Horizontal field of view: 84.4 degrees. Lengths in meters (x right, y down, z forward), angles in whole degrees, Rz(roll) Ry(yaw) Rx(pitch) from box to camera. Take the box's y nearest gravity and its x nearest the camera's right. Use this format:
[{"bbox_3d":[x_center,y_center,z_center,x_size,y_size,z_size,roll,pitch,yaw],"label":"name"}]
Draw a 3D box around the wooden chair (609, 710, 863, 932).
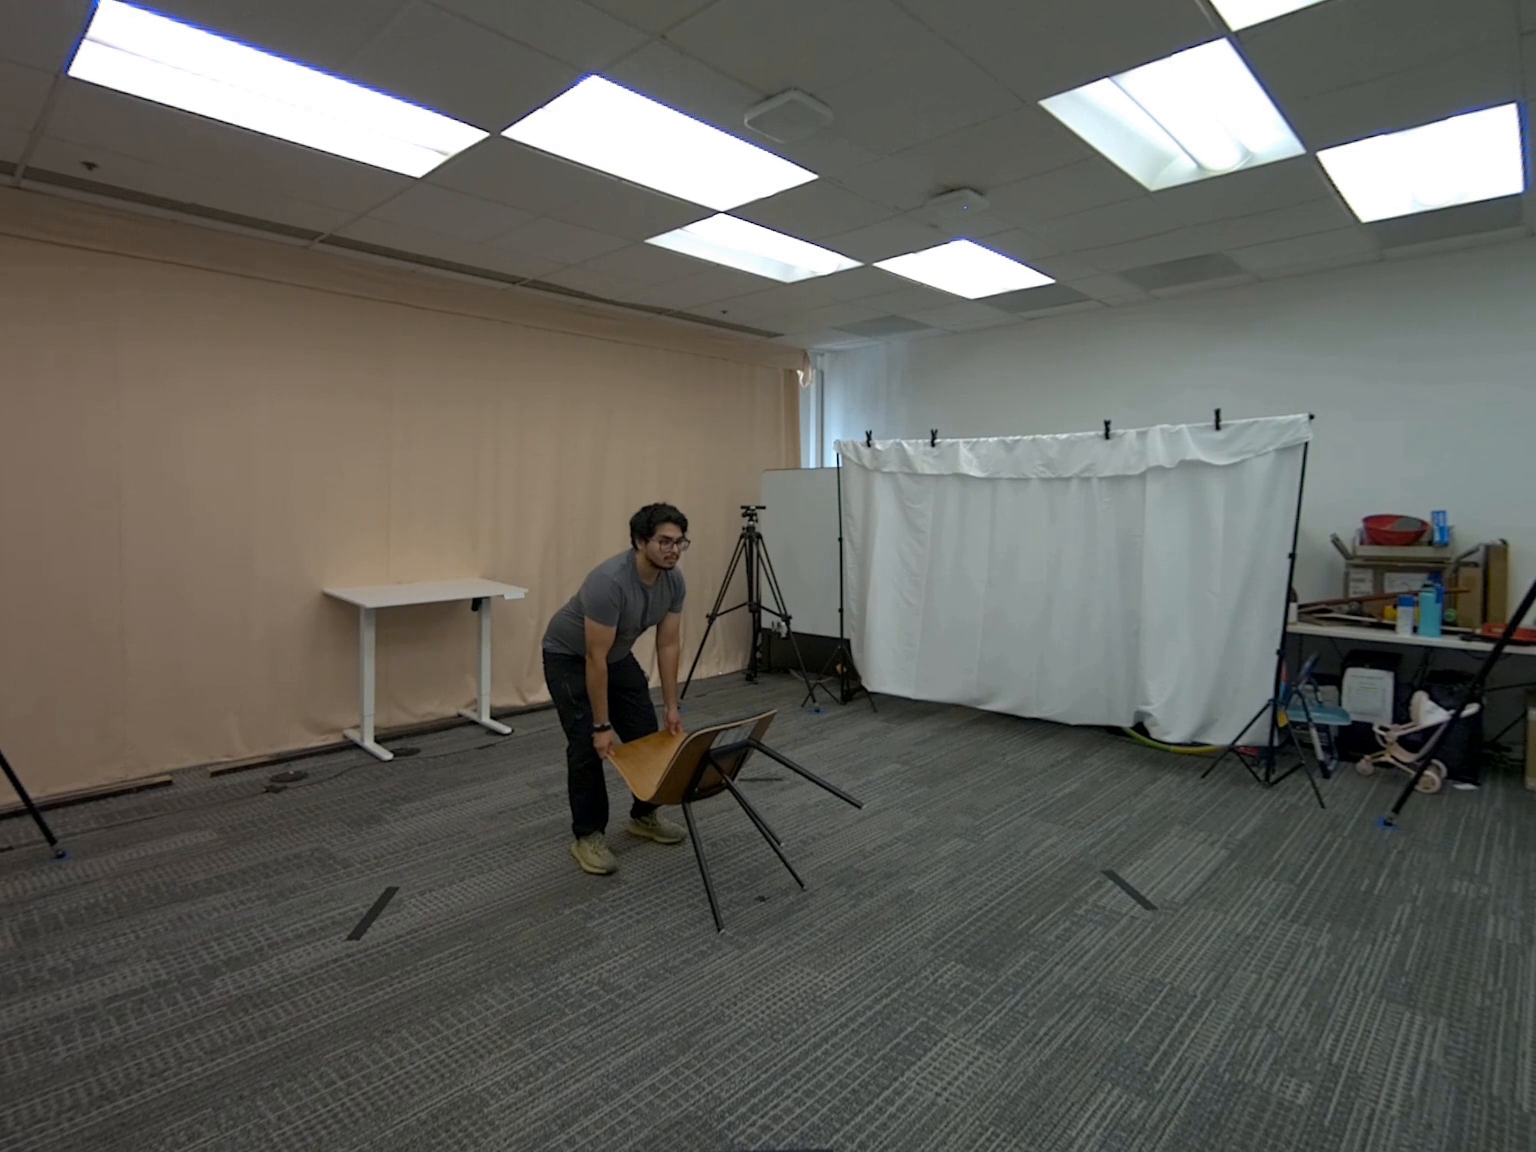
[{"bbox_3d":[-0.172,0.704,3.019,0.463,0.521,0.907,-5,37,-48],"label":"wooden chair"}]
